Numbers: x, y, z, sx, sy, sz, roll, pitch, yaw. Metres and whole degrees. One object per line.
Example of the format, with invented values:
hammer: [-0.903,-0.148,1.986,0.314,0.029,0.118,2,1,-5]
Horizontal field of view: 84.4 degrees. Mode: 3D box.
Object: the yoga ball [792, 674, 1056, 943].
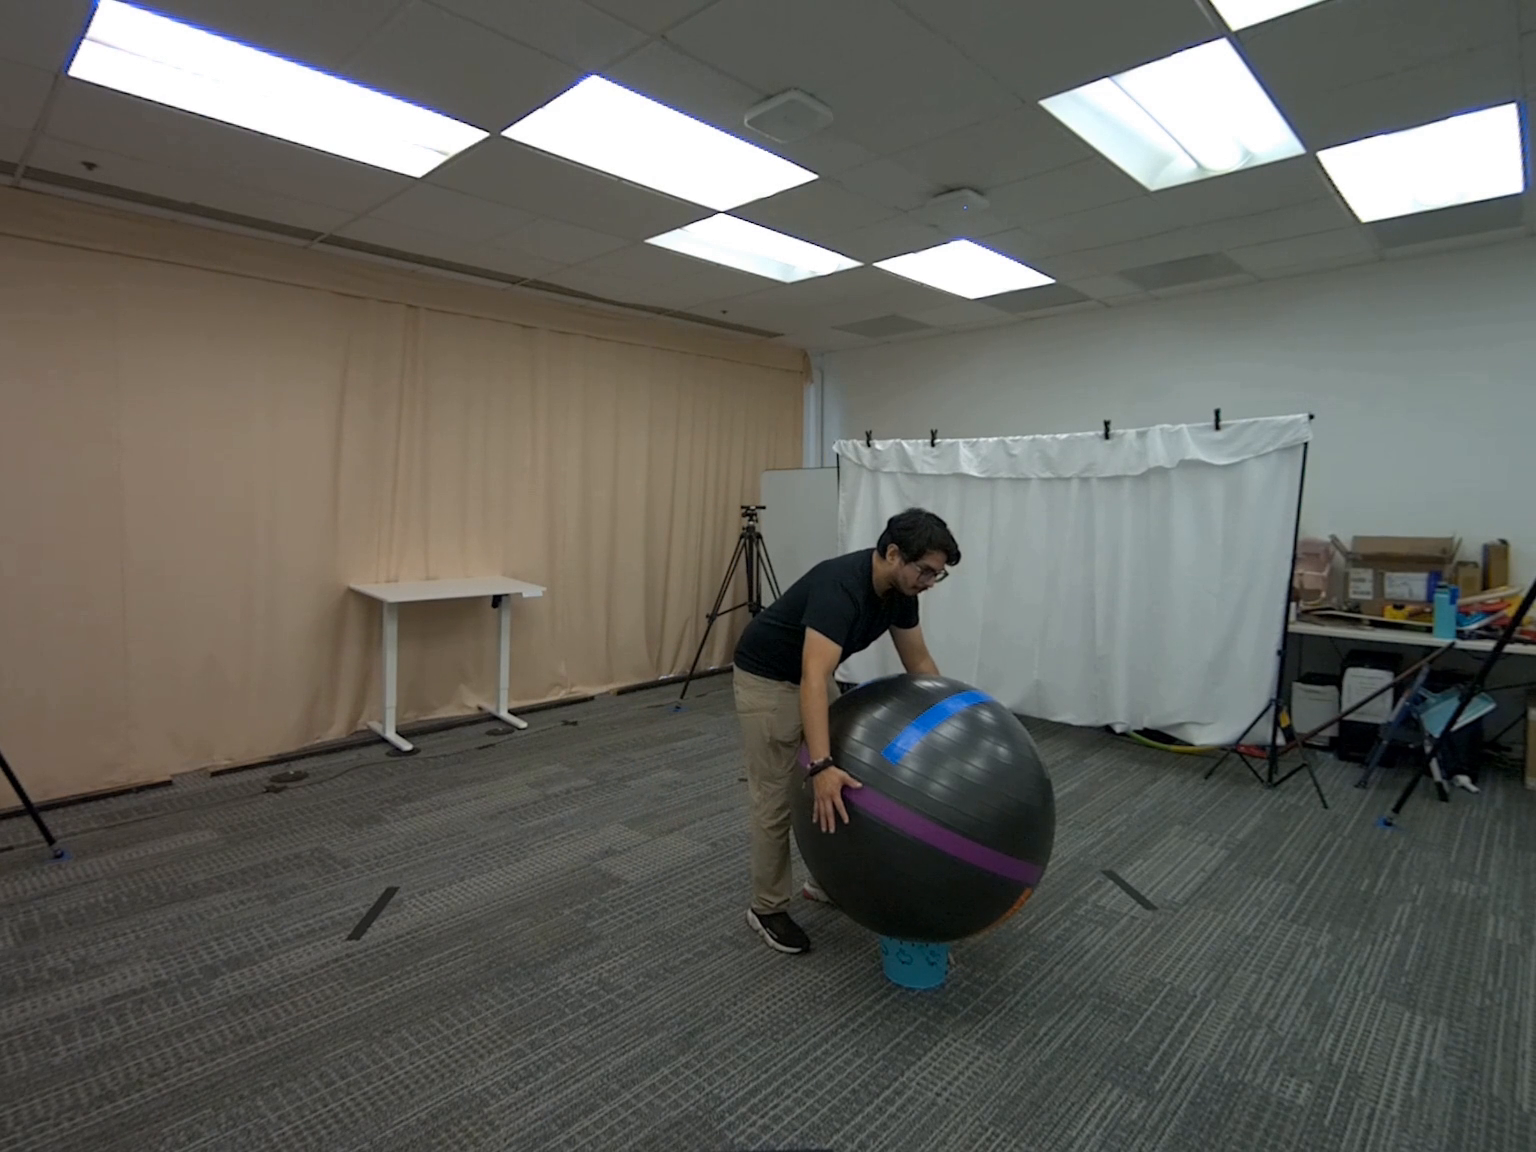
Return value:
yoga ball: [0.459,0.683,2.487,0.757,0.756,0.761,0,4,-2]
